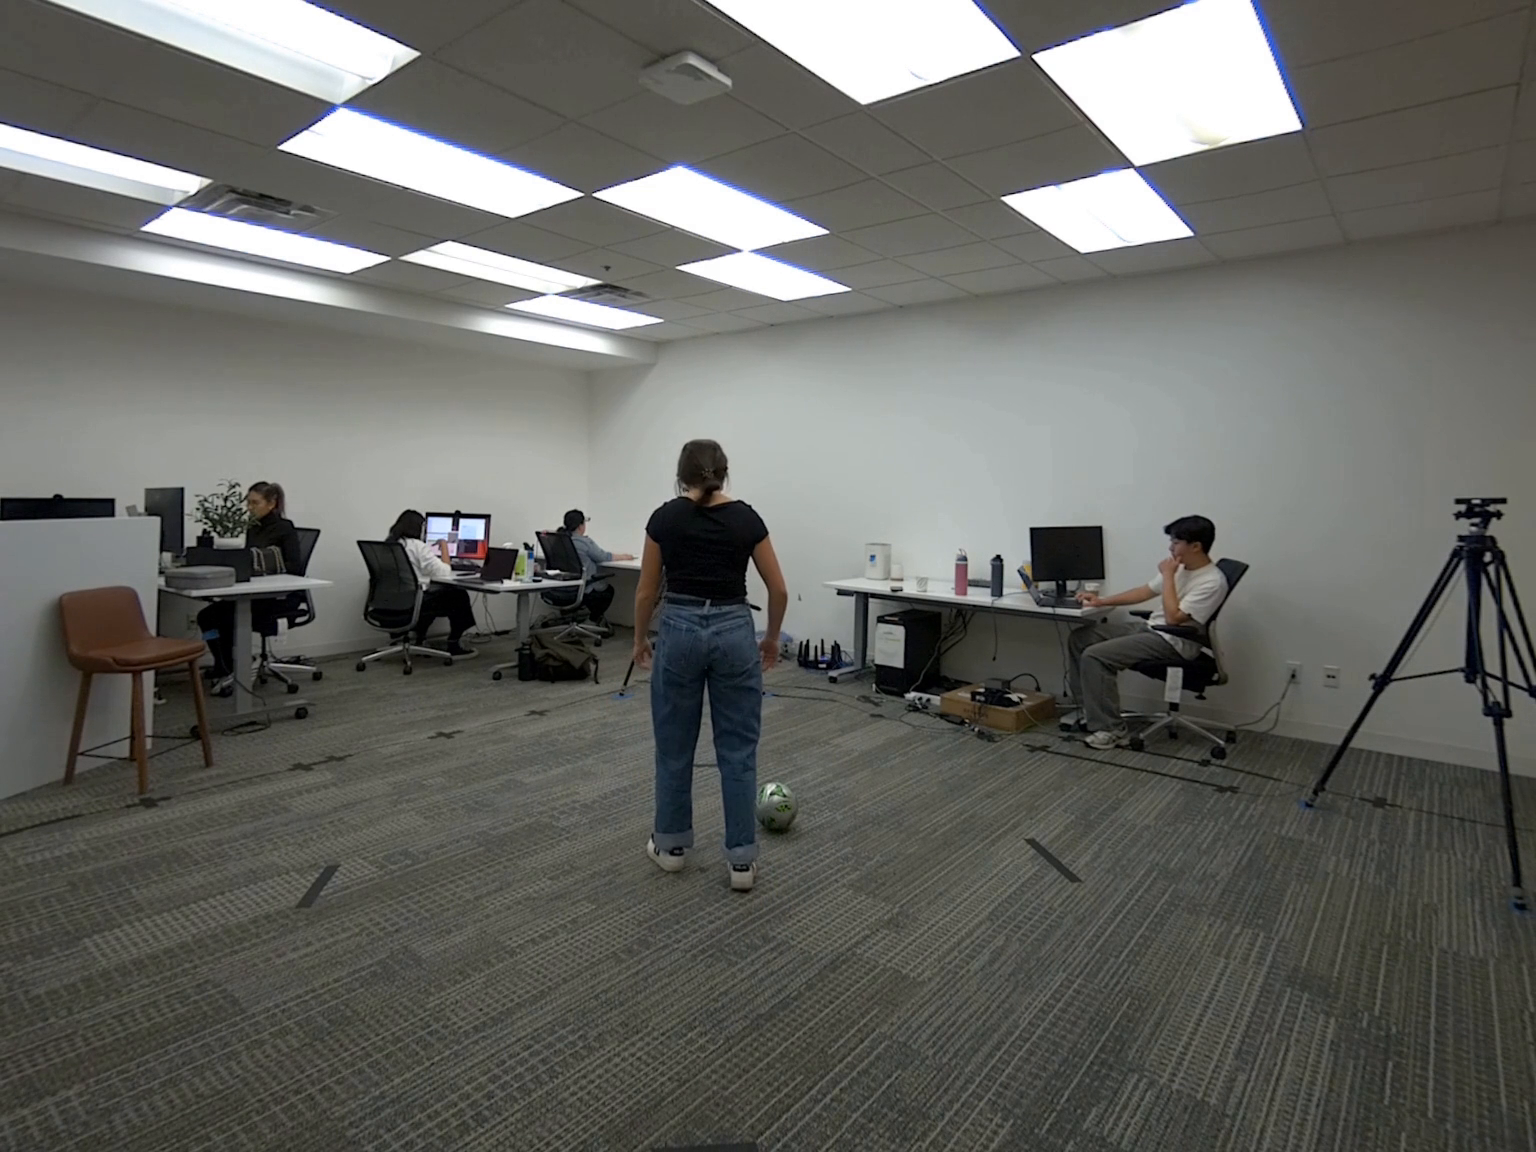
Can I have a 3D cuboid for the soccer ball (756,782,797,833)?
[{"bbox_3d":[0.035,0.935,3.500,0.187,0.187,0.188,1,4,-2],"label":"soccer ball"}]
